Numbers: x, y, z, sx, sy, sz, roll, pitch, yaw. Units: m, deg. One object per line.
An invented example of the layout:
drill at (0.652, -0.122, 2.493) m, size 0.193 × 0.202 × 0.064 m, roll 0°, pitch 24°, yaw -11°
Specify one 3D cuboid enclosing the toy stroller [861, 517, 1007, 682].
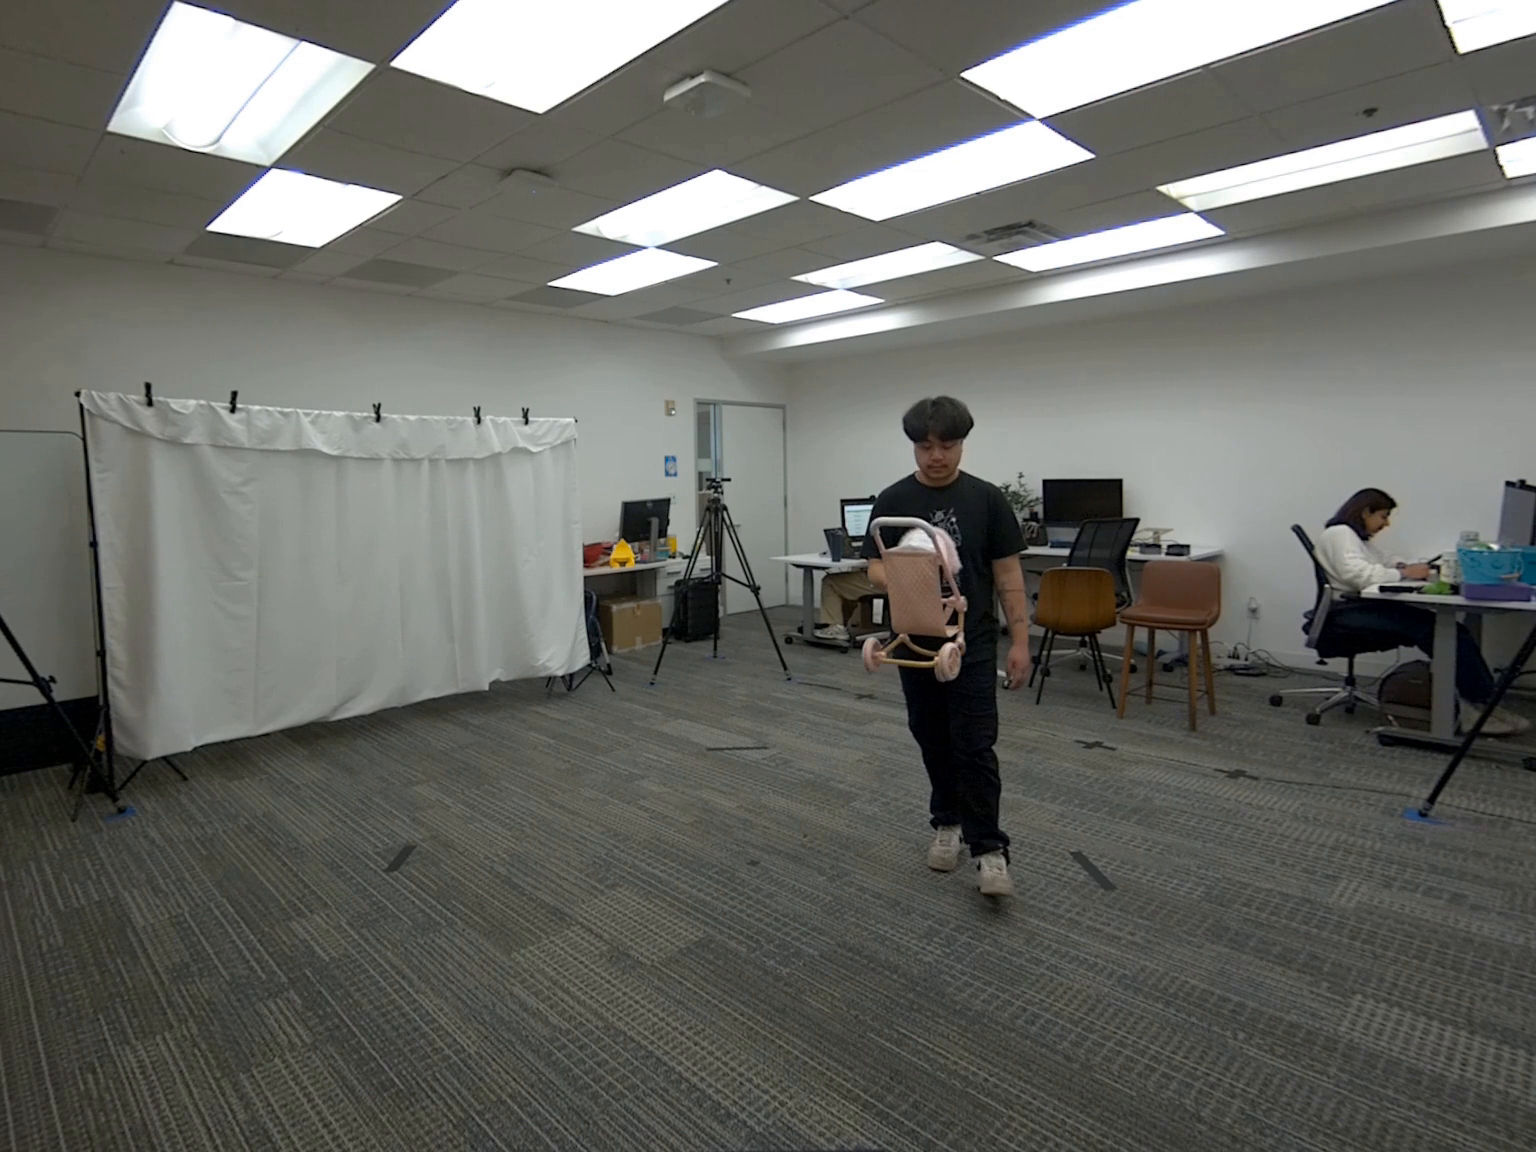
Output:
toy stroller at (0.495, 0.088, 2.643) m, size 0.289 × 0.534 × 0.332 m, roll -1°, pitch 2°, yaw 41°
